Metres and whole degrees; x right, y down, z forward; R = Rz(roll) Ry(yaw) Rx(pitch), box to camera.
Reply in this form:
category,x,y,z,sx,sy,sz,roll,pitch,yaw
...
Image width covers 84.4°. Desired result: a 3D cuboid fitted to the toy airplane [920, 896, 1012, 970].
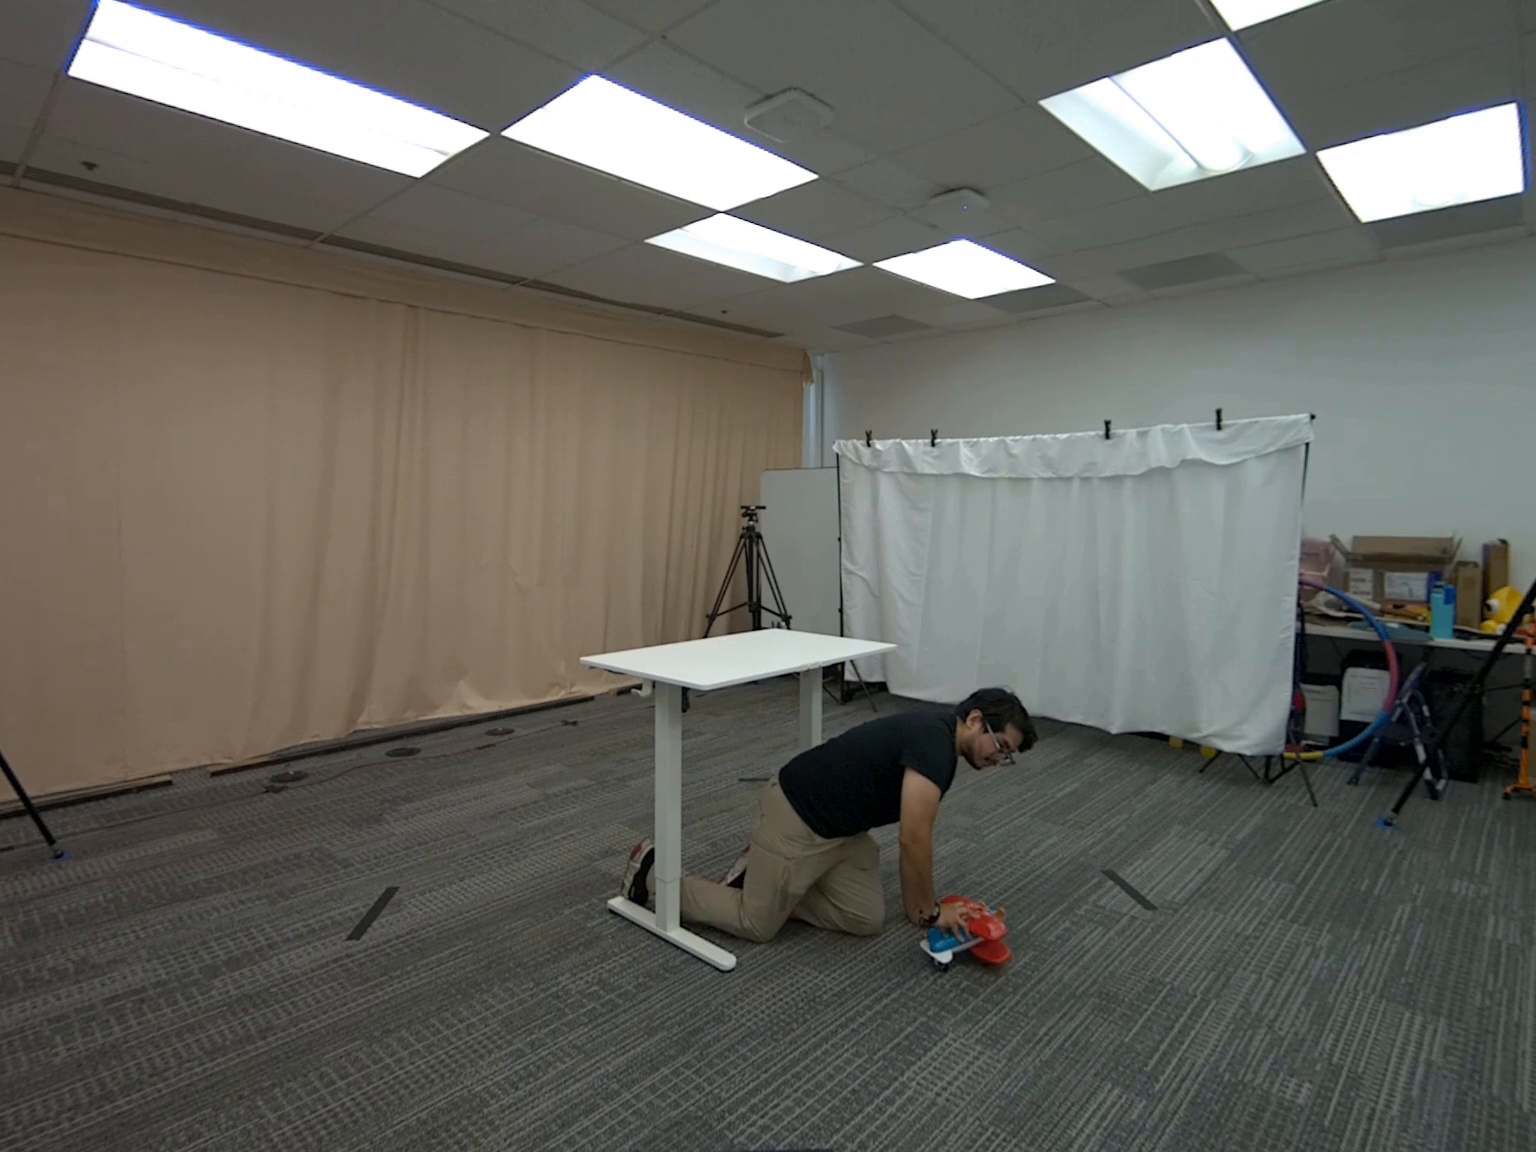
category,x,y,z,sx,sy,sz,roll,pitch,yaw
toy airplane,0.614,1.105,2.545,0.259,0.156,0.251,4,4,36
